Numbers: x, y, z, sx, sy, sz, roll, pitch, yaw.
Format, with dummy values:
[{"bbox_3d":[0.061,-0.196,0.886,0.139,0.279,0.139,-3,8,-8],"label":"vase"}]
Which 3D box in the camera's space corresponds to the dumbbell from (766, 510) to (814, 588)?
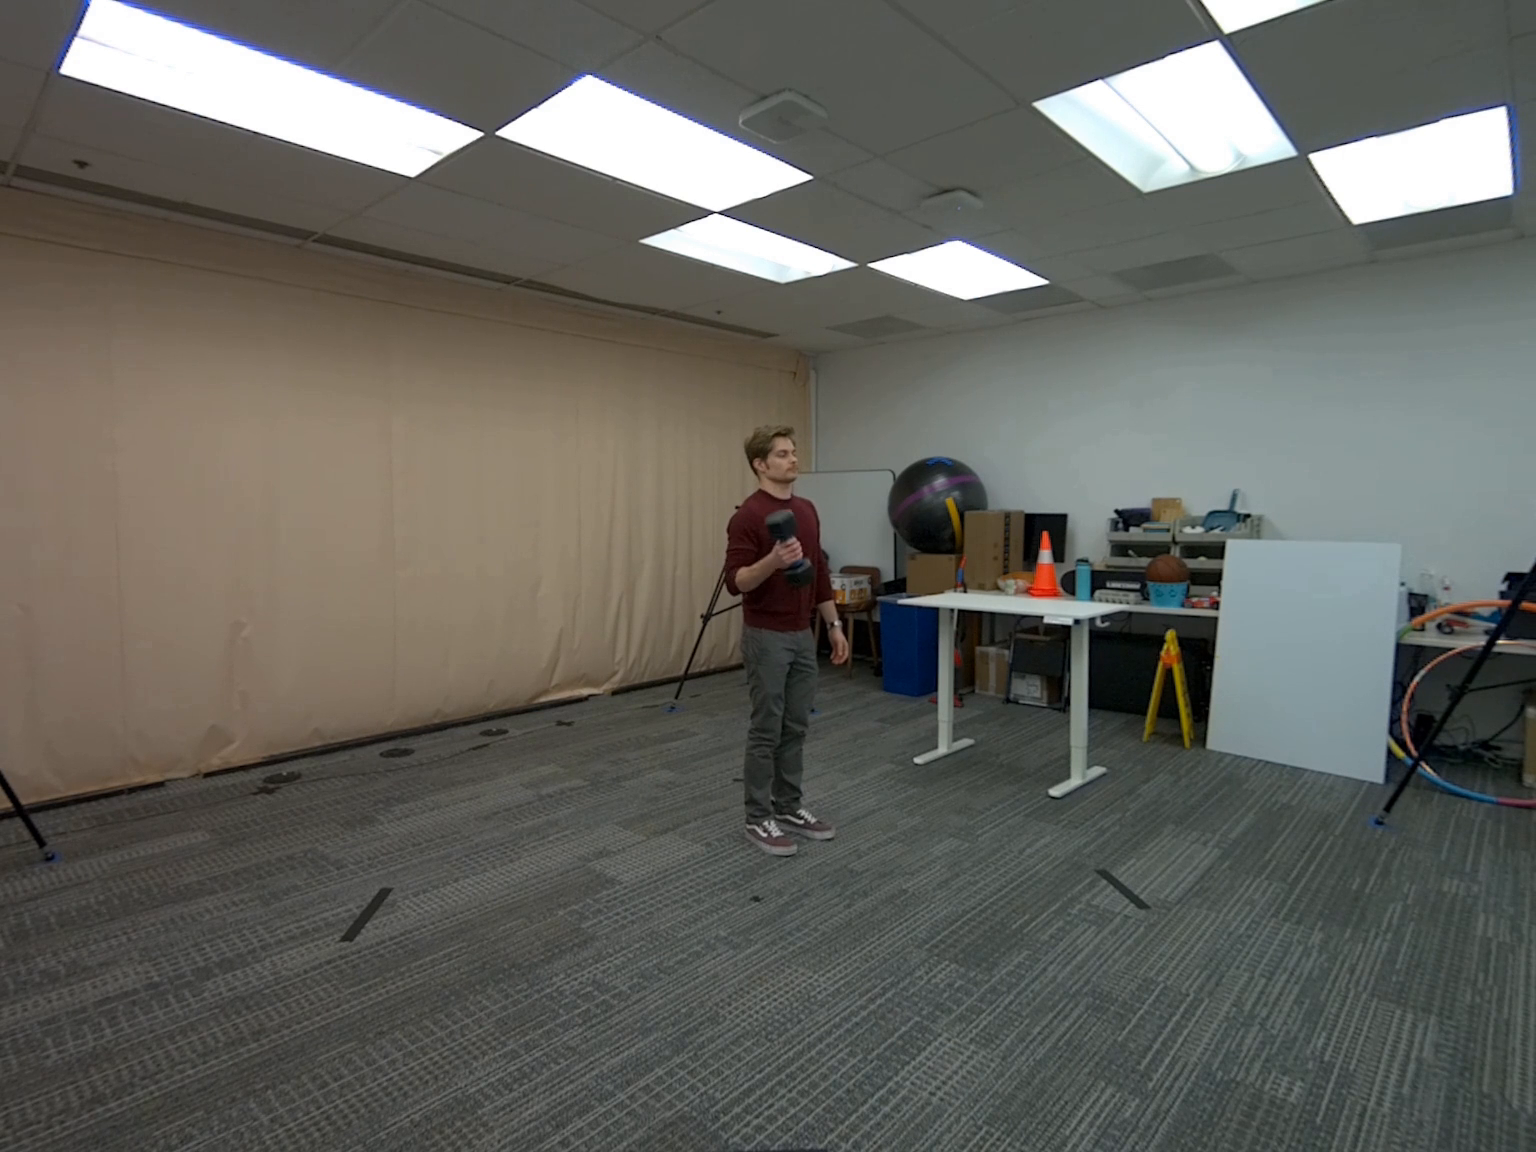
[{"bbox_3d":[0.082,-0.091,3.173,0.126,0.288,0.107,-5,26,35],"label":"dumbbell"}]
